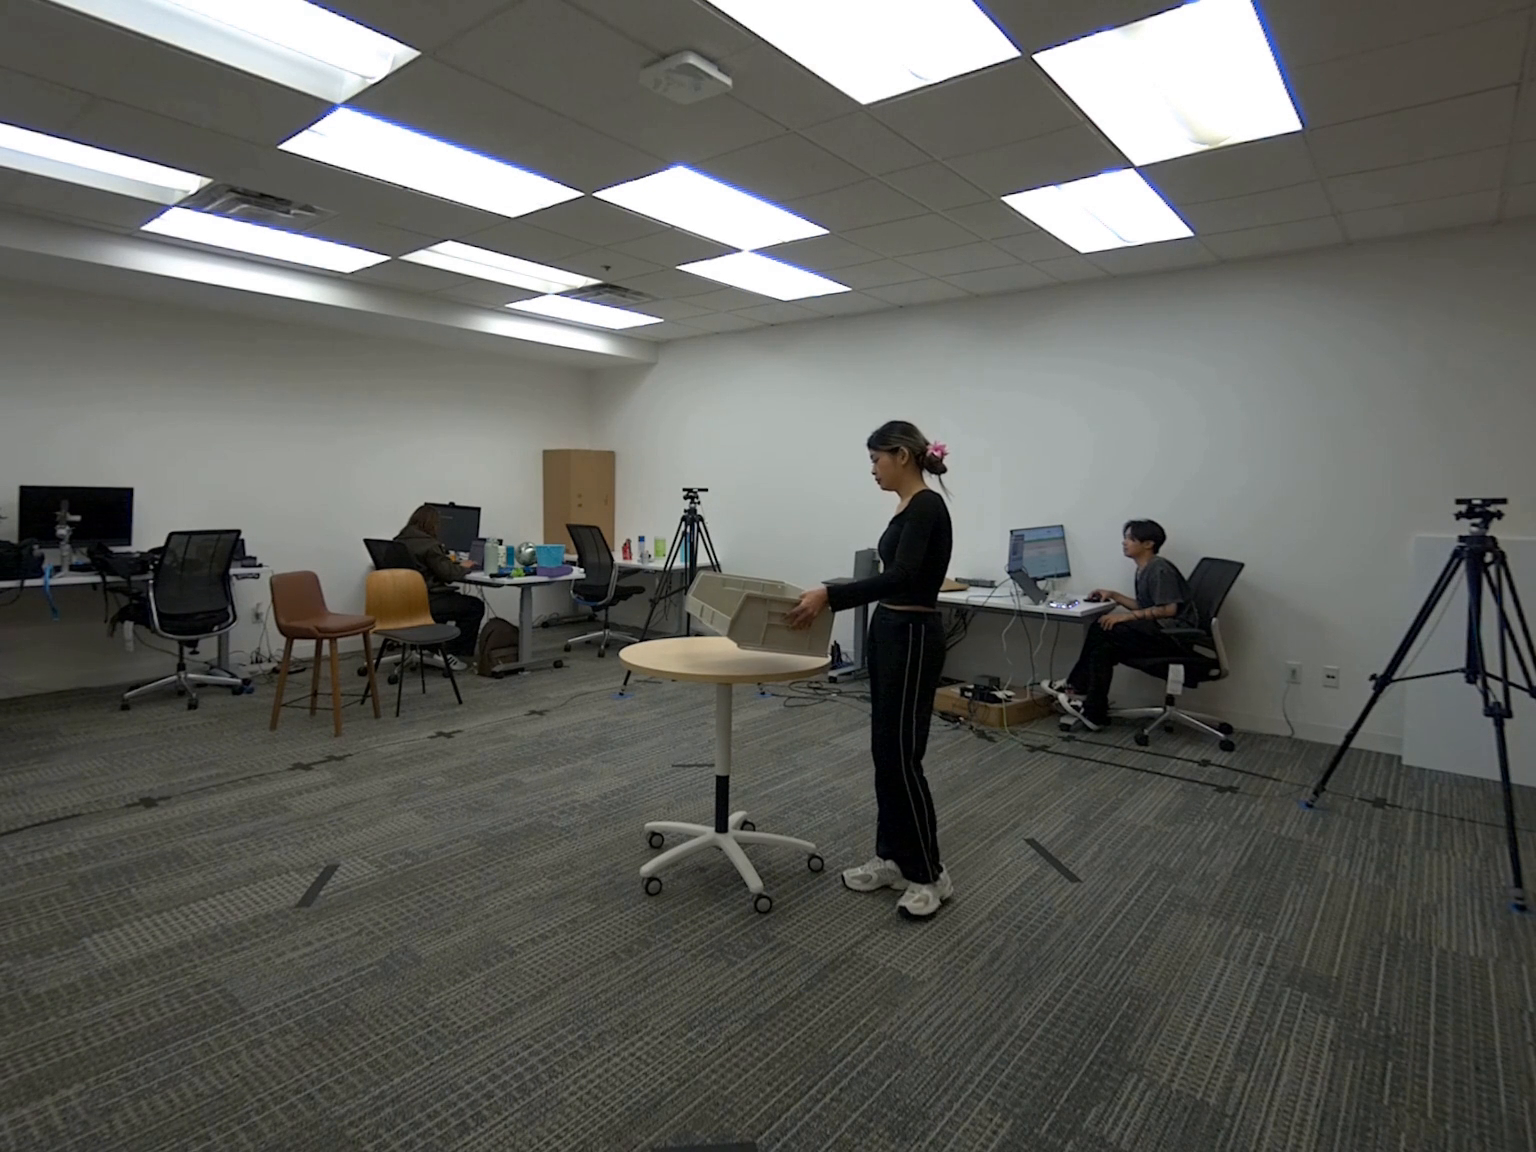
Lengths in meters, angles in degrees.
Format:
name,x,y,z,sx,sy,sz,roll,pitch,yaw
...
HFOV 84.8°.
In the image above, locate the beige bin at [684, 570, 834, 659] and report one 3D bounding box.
name,x,y,z,sx,sy,sz,roll,pitch,yaw
beige bin,-0.042,0.122,2.847,0.368,0.188,0.435,9,5,-24
